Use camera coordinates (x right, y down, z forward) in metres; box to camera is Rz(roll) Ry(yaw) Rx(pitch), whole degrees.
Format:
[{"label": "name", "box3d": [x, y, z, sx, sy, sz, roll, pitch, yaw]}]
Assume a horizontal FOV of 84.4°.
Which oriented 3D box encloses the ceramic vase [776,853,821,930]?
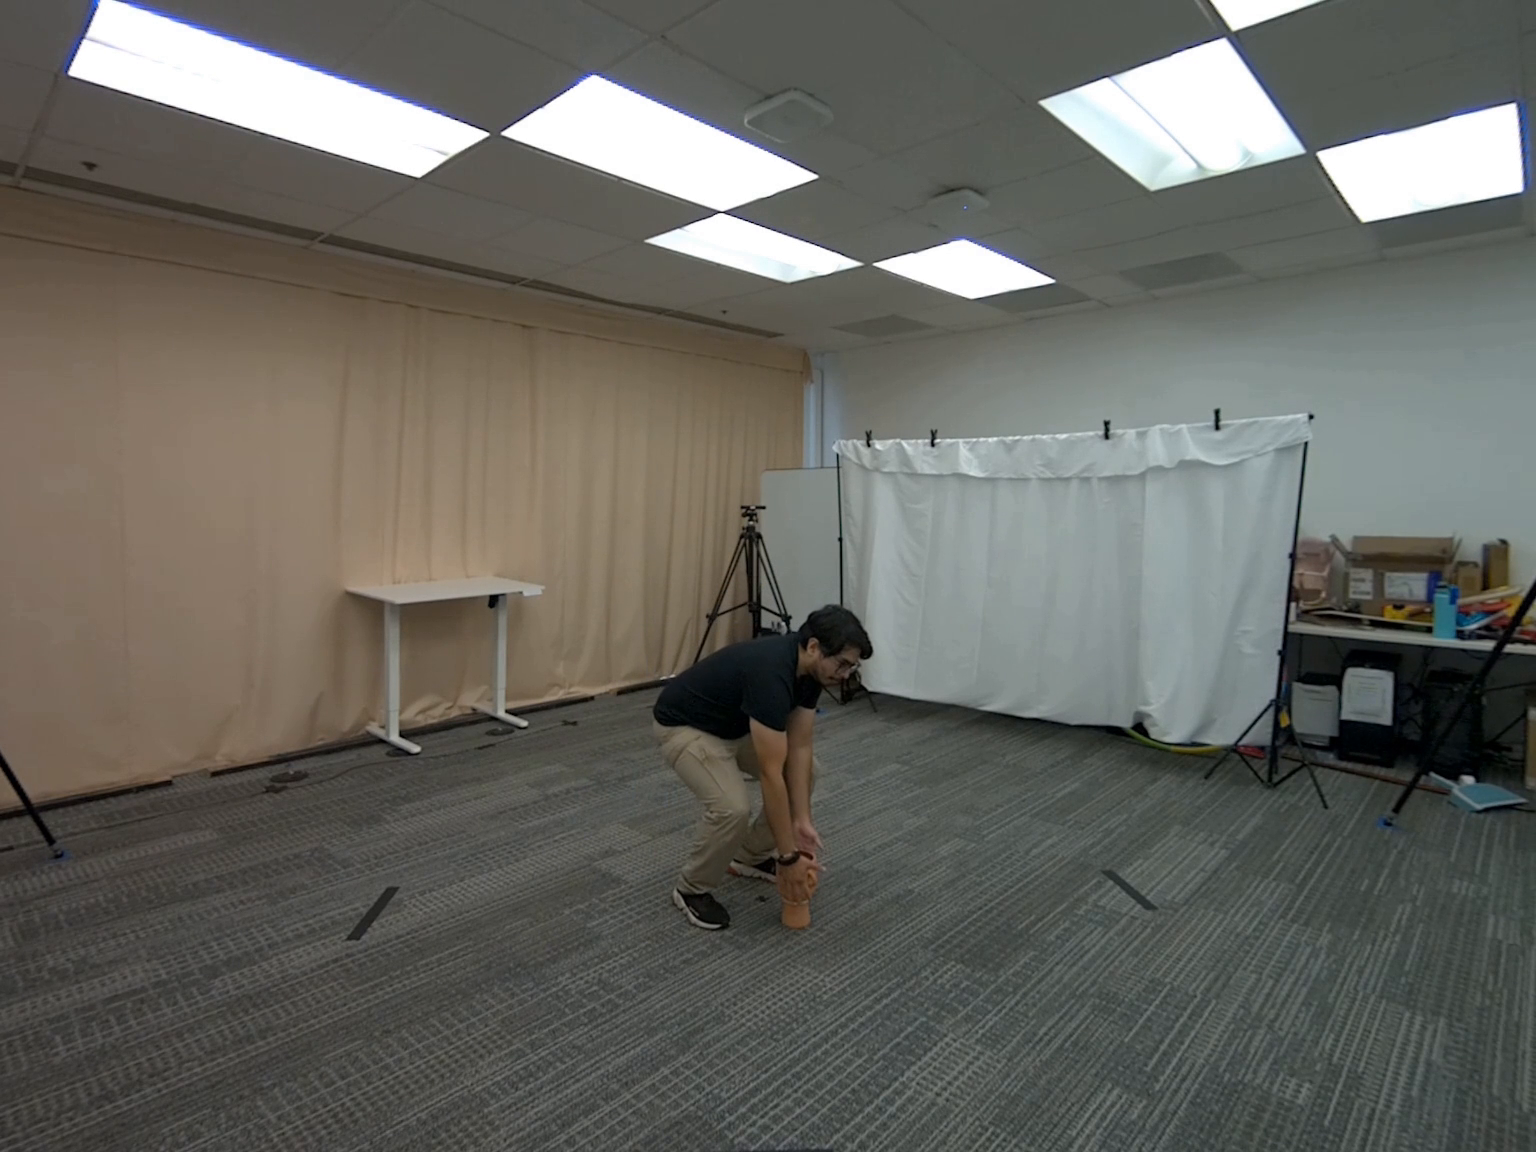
[{"label": "ceramic vase", "box3d": [0.093, 1.036, 2.806, 0.134, 0.219, 0.160, -1, 5, -4]}]
